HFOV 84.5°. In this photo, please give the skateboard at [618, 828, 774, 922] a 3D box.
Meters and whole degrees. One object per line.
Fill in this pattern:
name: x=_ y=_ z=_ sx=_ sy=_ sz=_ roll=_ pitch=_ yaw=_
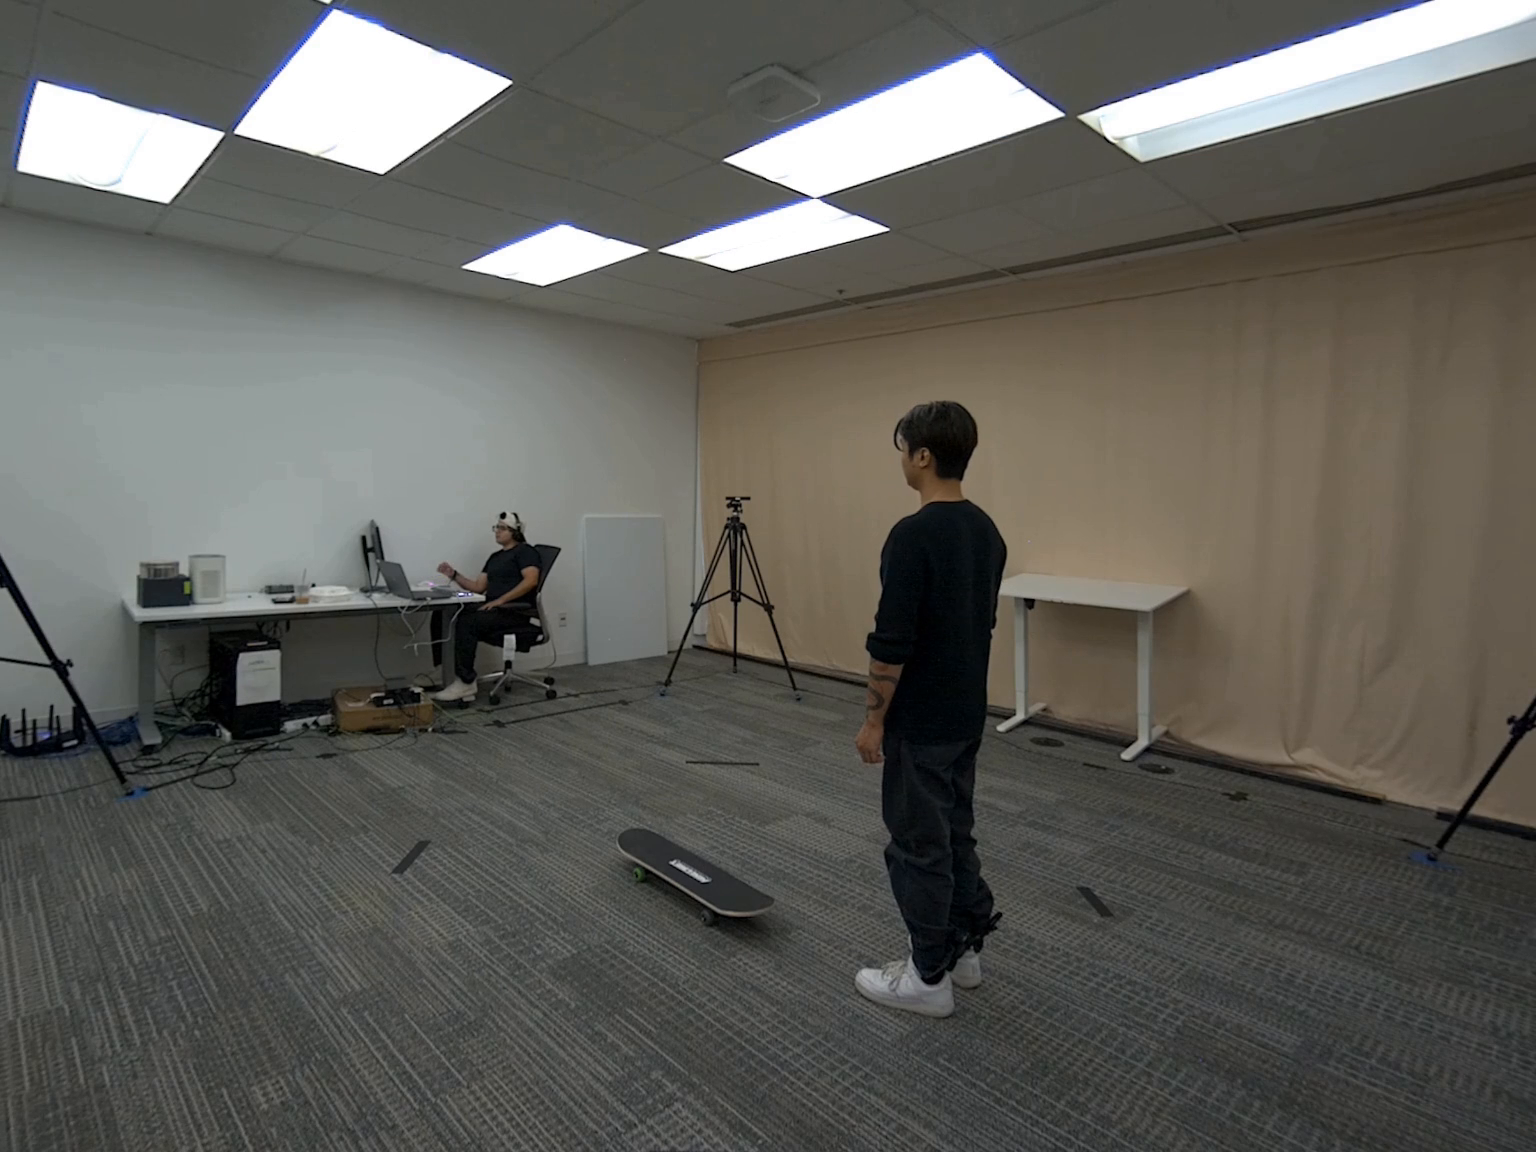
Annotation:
skateboard: x=-0.283 y=1.063 z=2.945 sx=0.189 sy=0.110 sz=0.806 roll=-2 pitch=7 yaw=-41
